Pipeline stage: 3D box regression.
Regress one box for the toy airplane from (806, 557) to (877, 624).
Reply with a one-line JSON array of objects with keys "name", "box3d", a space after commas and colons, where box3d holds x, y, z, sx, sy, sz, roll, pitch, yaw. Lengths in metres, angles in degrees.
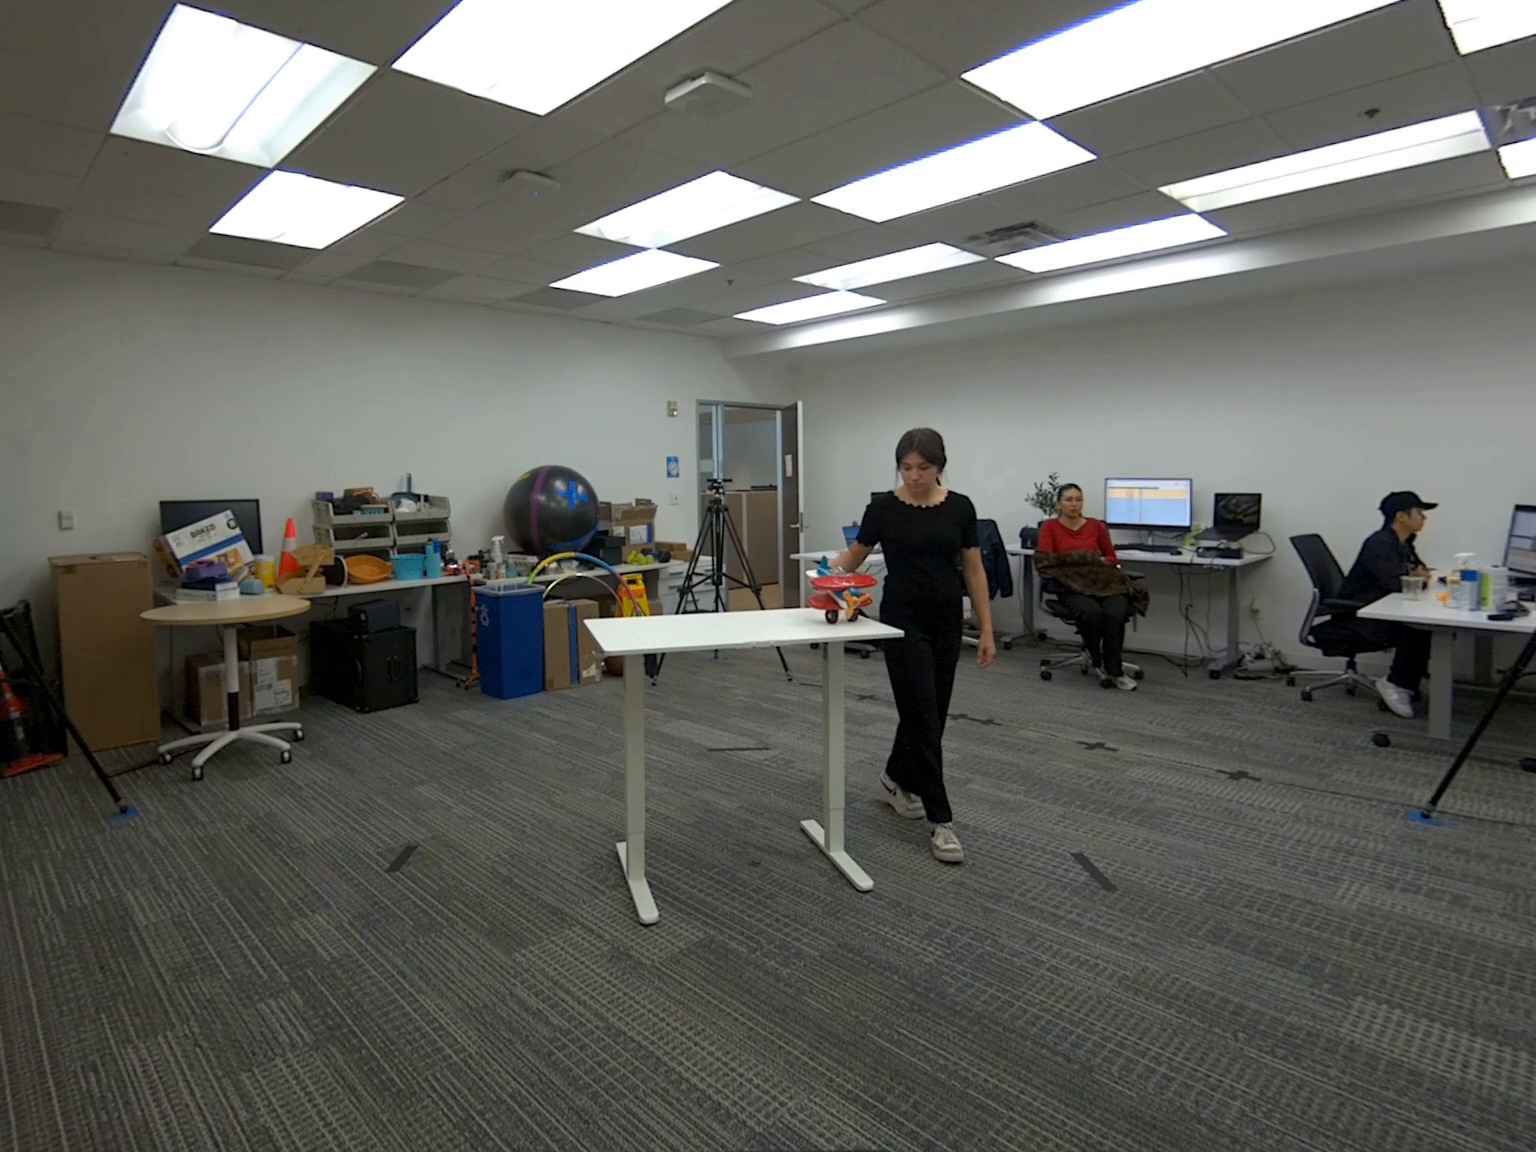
[{"name": "toy airplane", "box3d": [0.232, 0.049, 3.074, 0.267, 0.154, 0.247, 36, 40, 24]}]
